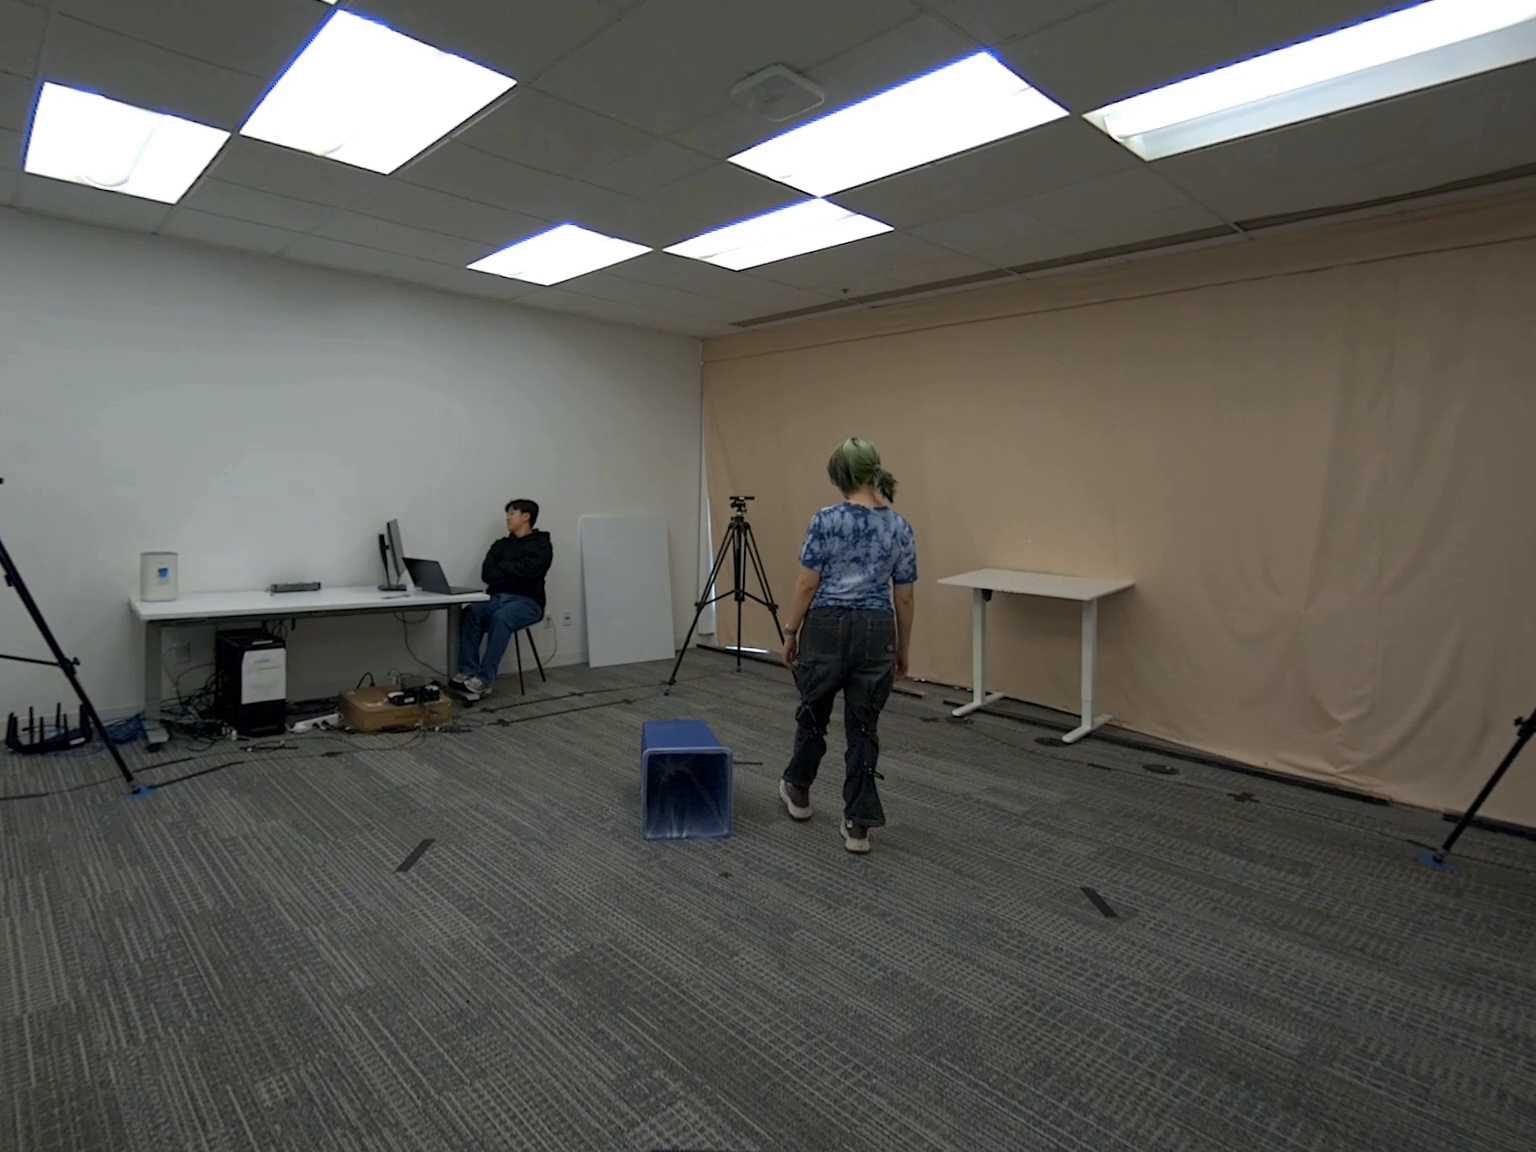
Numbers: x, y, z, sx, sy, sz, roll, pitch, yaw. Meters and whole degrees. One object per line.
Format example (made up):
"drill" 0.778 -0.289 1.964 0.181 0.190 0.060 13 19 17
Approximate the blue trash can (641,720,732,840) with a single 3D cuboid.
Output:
"blue trash can" -0.405 0.865 3.771 0.375 0.373 0.721 0 3 -11
